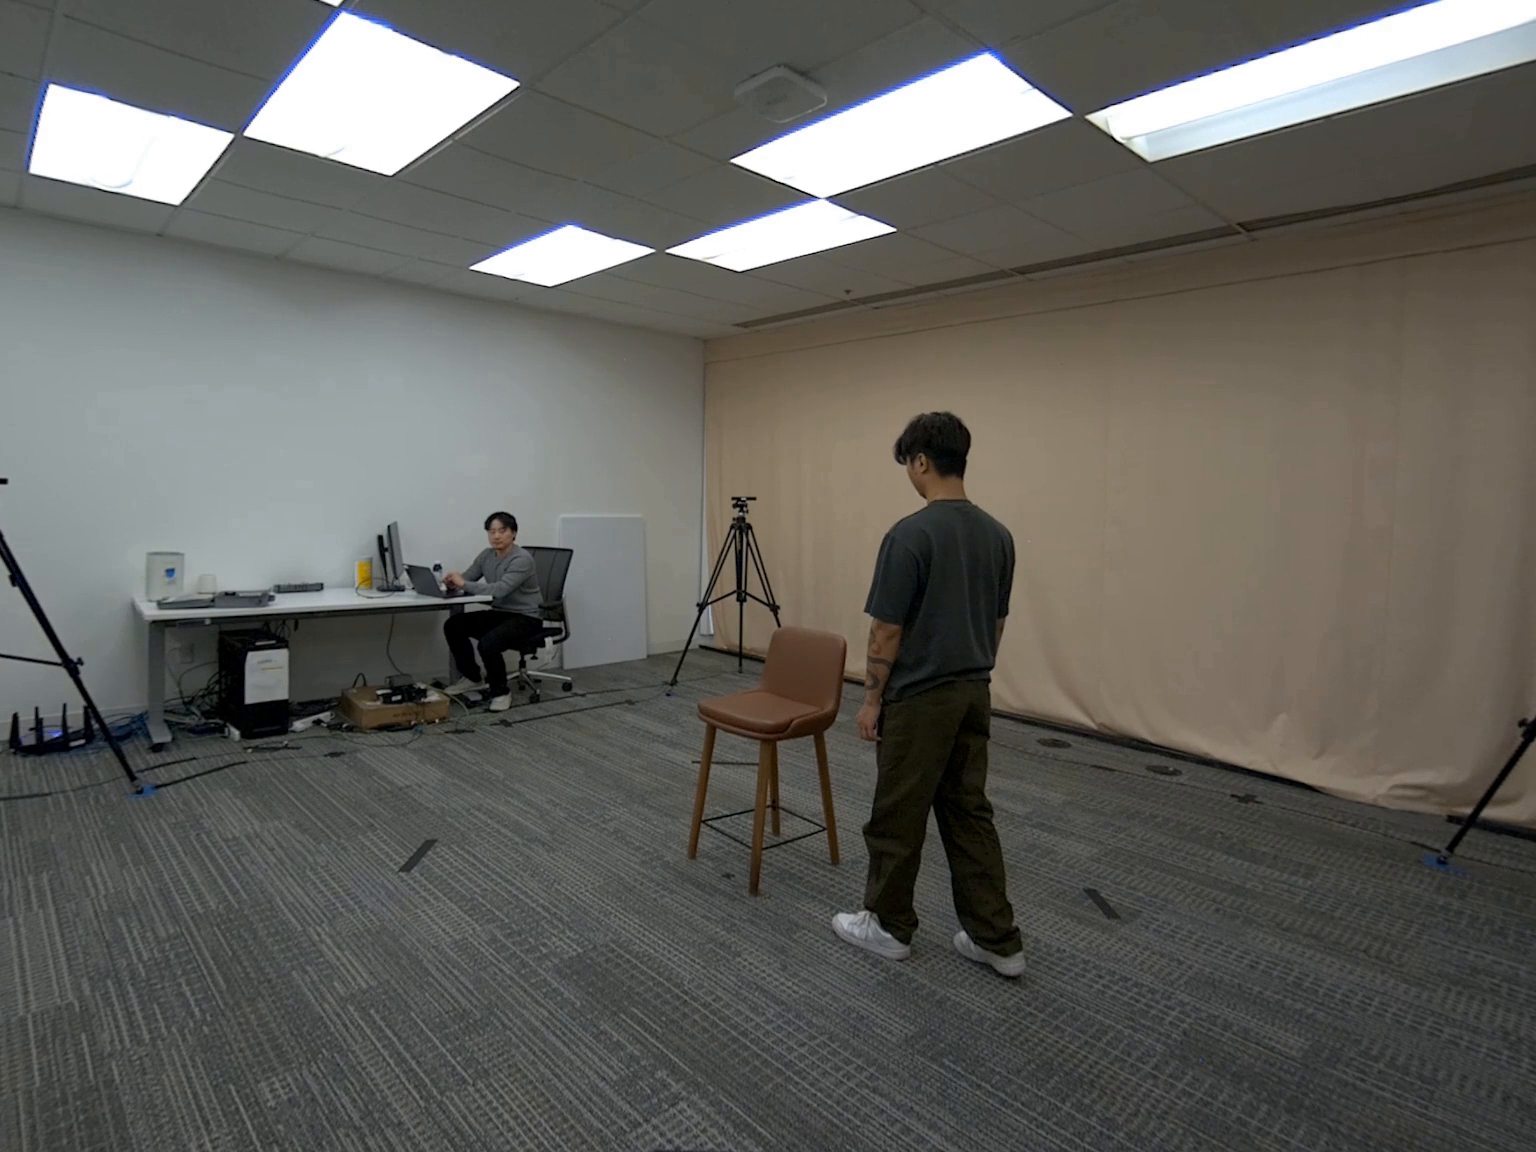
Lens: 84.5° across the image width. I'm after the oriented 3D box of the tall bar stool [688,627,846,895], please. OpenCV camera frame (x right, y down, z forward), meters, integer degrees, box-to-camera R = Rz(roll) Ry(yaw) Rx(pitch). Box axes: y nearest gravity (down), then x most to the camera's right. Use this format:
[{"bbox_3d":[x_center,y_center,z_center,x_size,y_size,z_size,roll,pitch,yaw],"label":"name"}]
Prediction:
[{"bbox_3d":[-0.003,0.663,3.219,0.456,0.889,0.468,1,2,-40],"label":"tall bar stool"}]
